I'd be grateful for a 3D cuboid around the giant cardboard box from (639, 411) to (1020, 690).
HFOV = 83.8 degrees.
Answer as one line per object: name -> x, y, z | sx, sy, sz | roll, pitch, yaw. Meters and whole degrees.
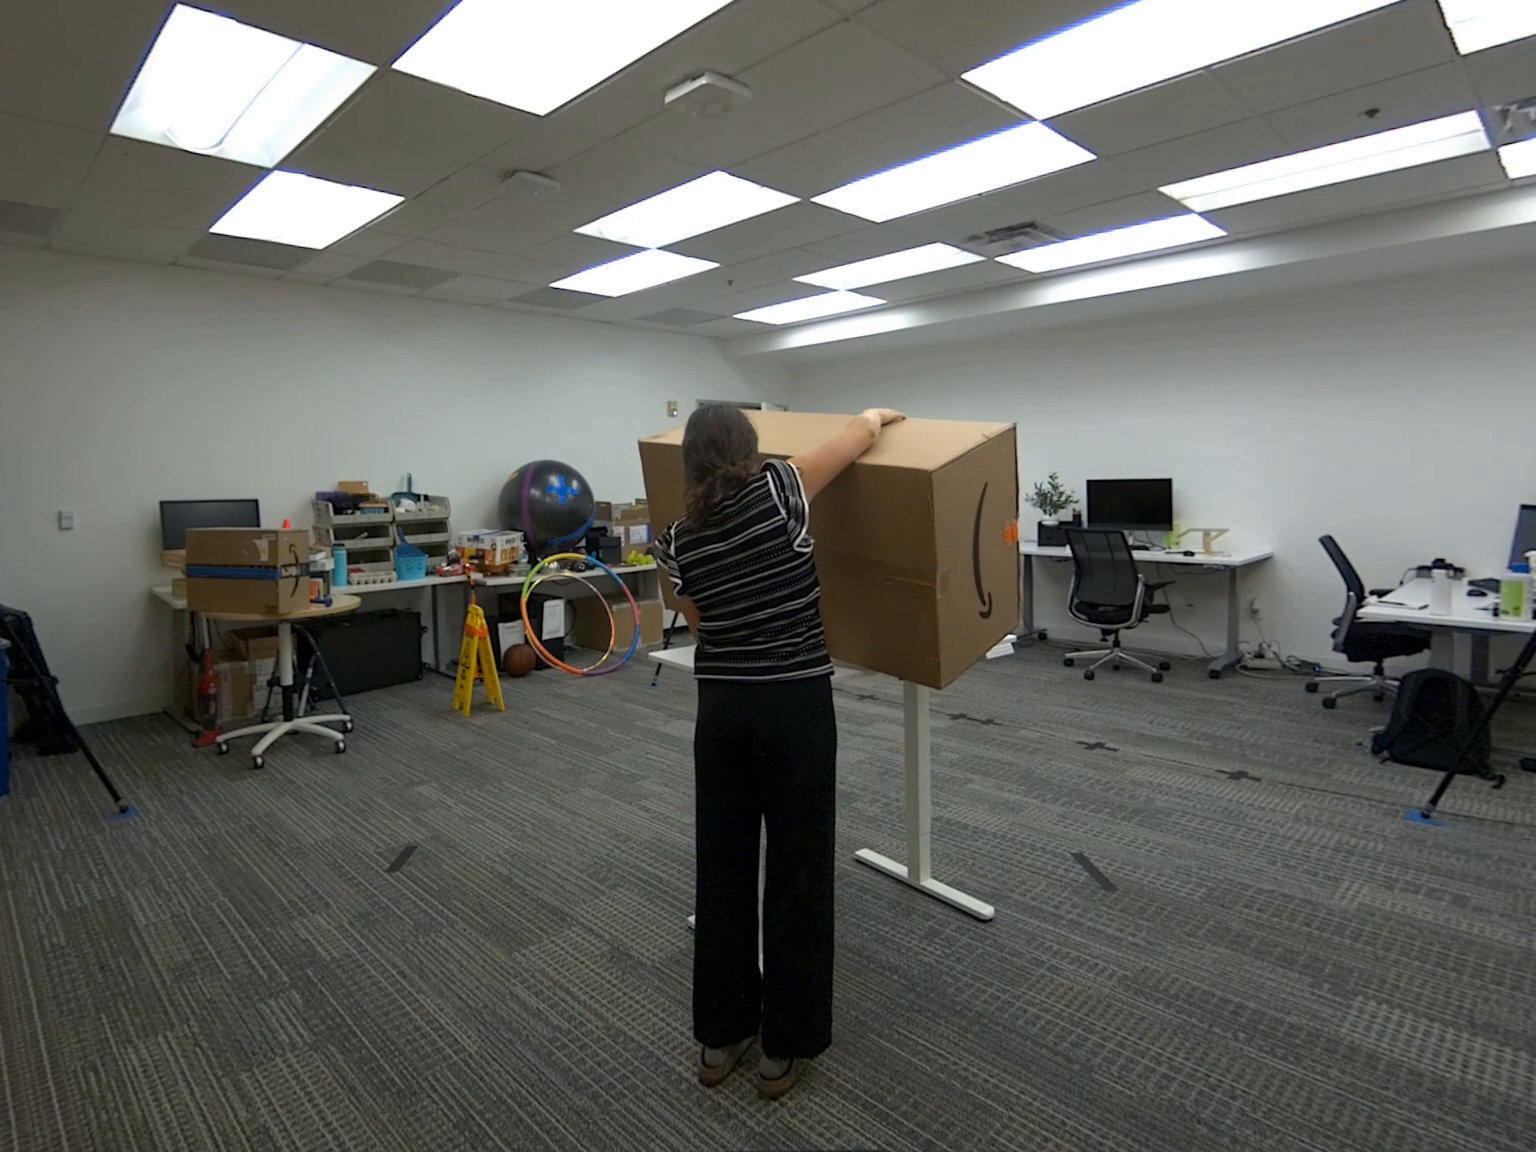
giant cardboard box -> 0.156, -0.146, 2.501 | 1.061, 0.566, 0.420 | 12, 28, 42
